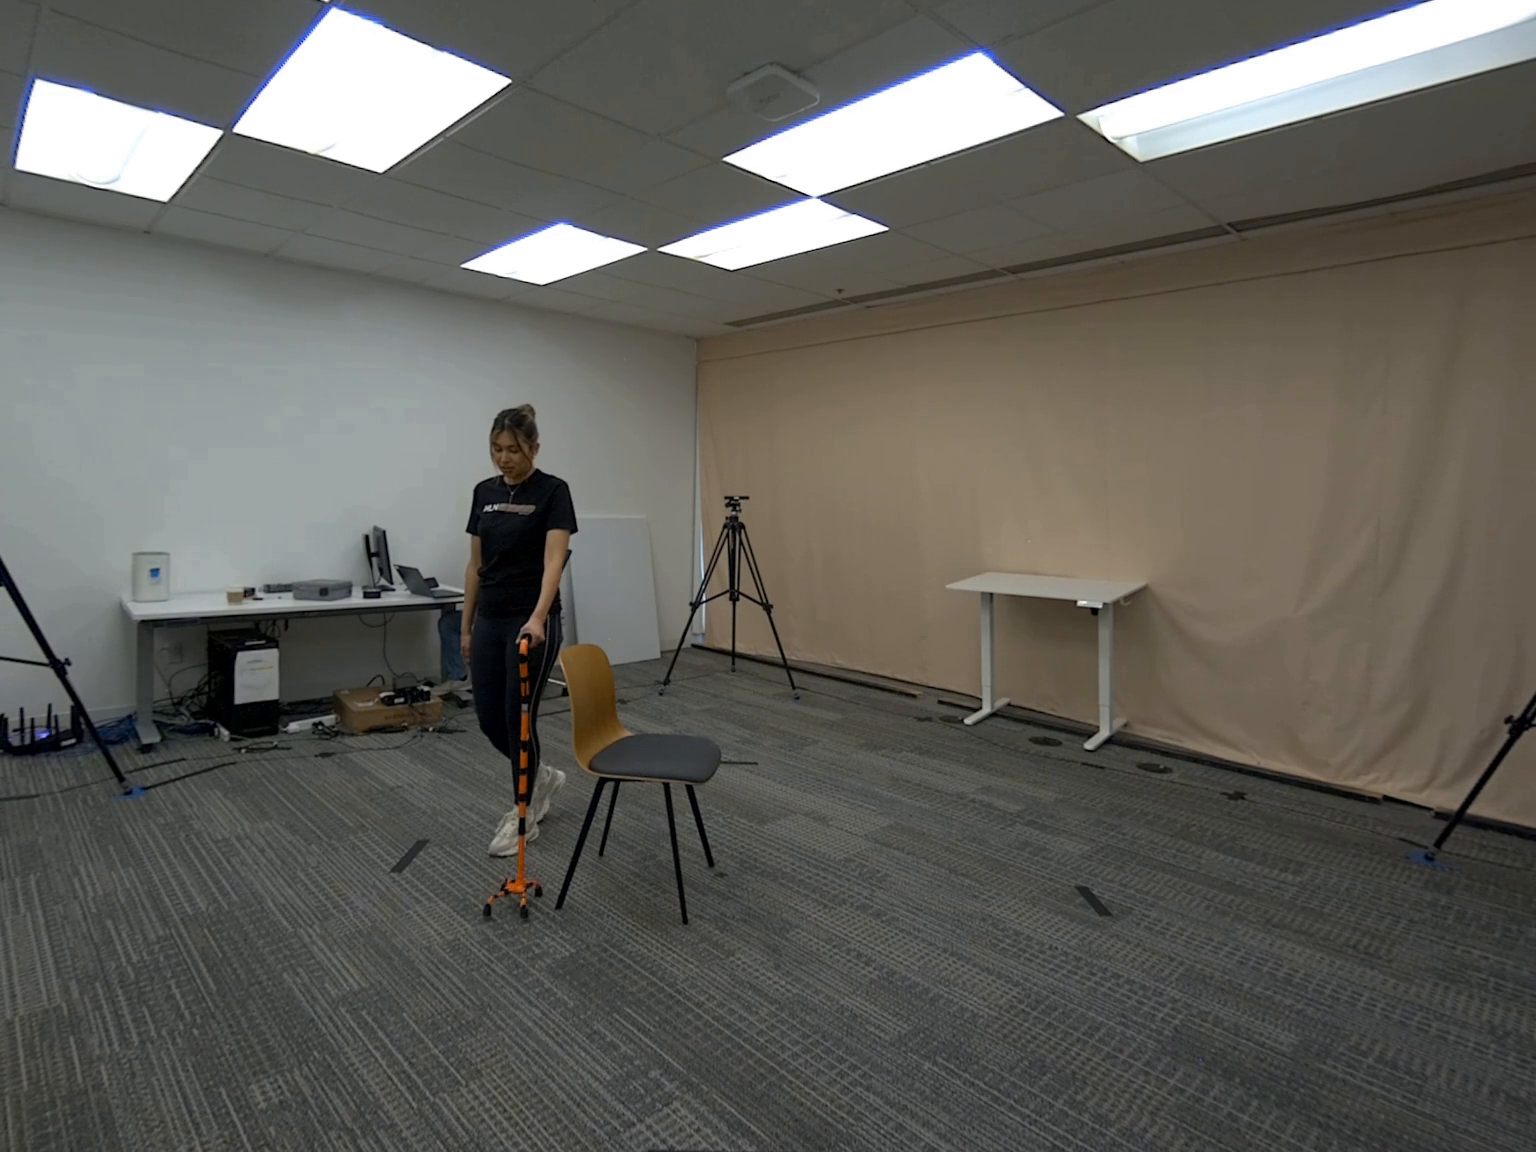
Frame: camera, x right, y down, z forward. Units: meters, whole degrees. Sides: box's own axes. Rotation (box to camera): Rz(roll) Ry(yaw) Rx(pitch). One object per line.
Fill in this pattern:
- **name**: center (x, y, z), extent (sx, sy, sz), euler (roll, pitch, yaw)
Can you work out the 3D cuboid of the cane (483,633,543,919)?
- **cane**: center (-0.849, 0.651, 2.834), extent (0.152, 0.908, 0.206), euler (2, 0, 3)
